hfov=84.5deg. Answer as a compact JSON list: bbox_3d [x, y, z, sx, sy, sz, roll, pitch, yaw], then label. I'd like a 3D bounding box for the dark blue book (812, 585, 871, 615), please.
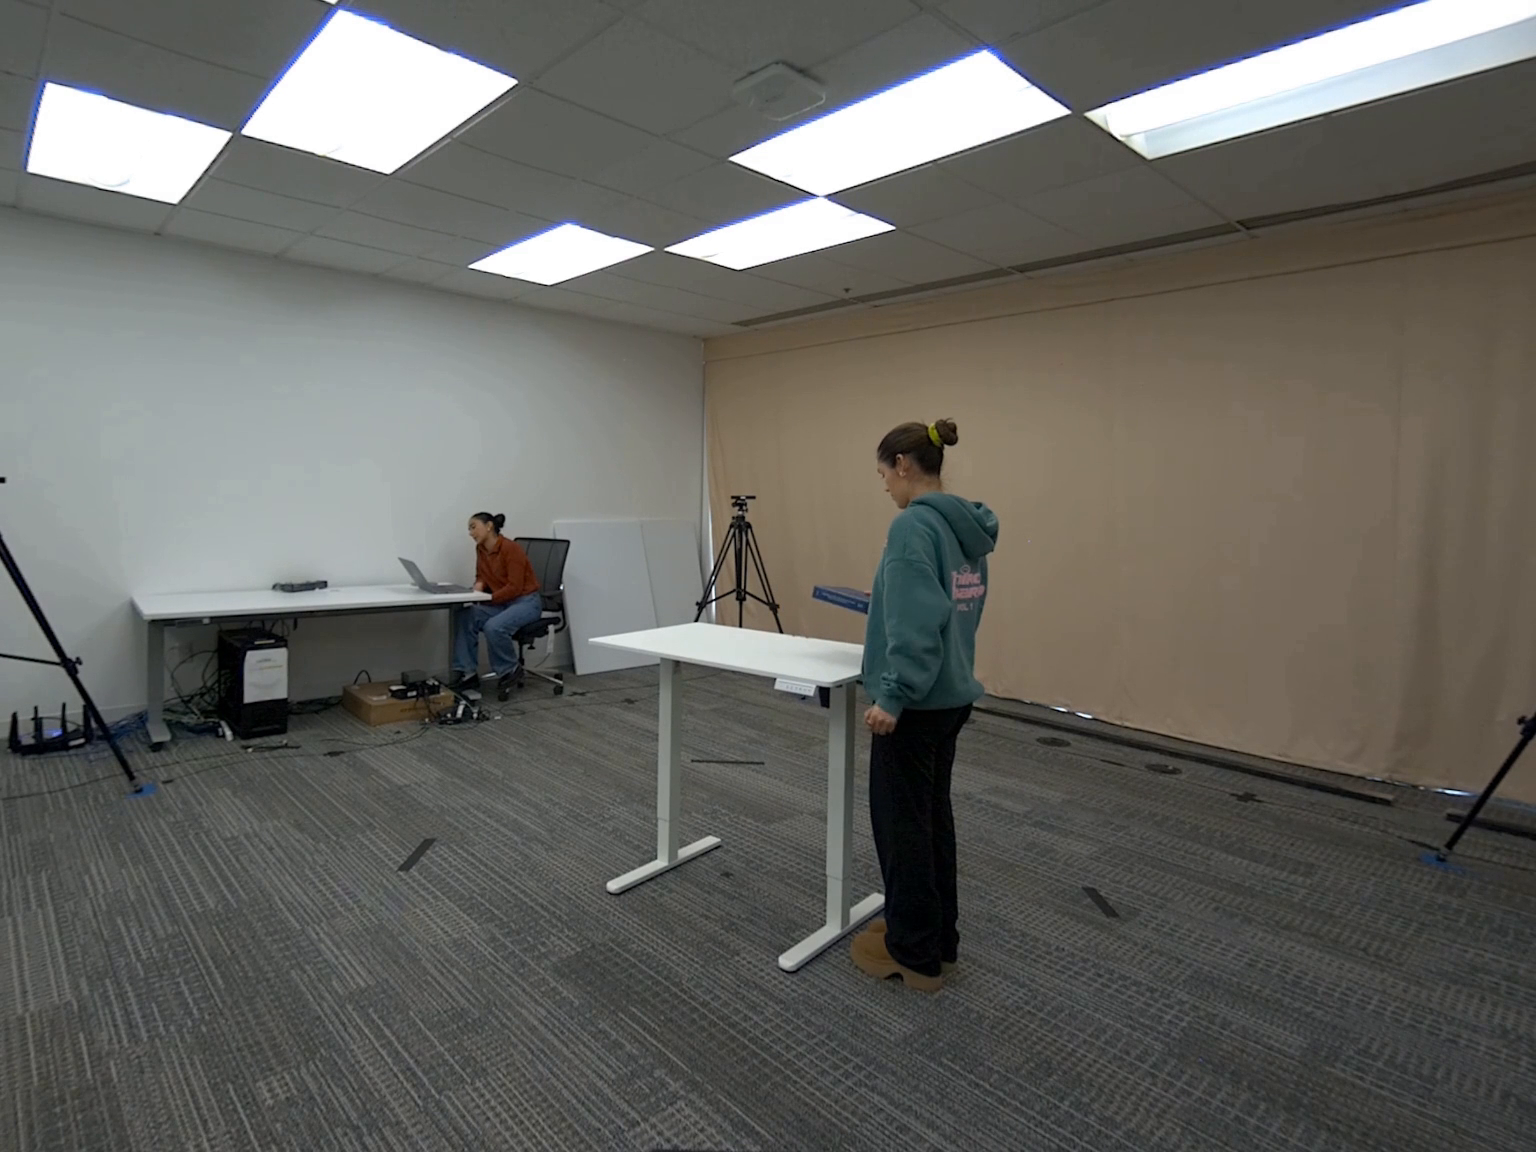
[{"bbox_3d":[0.275,0.082,2.730,0.159,0.045,0.252,4,9,-41],"label":"dark blue book"}]
